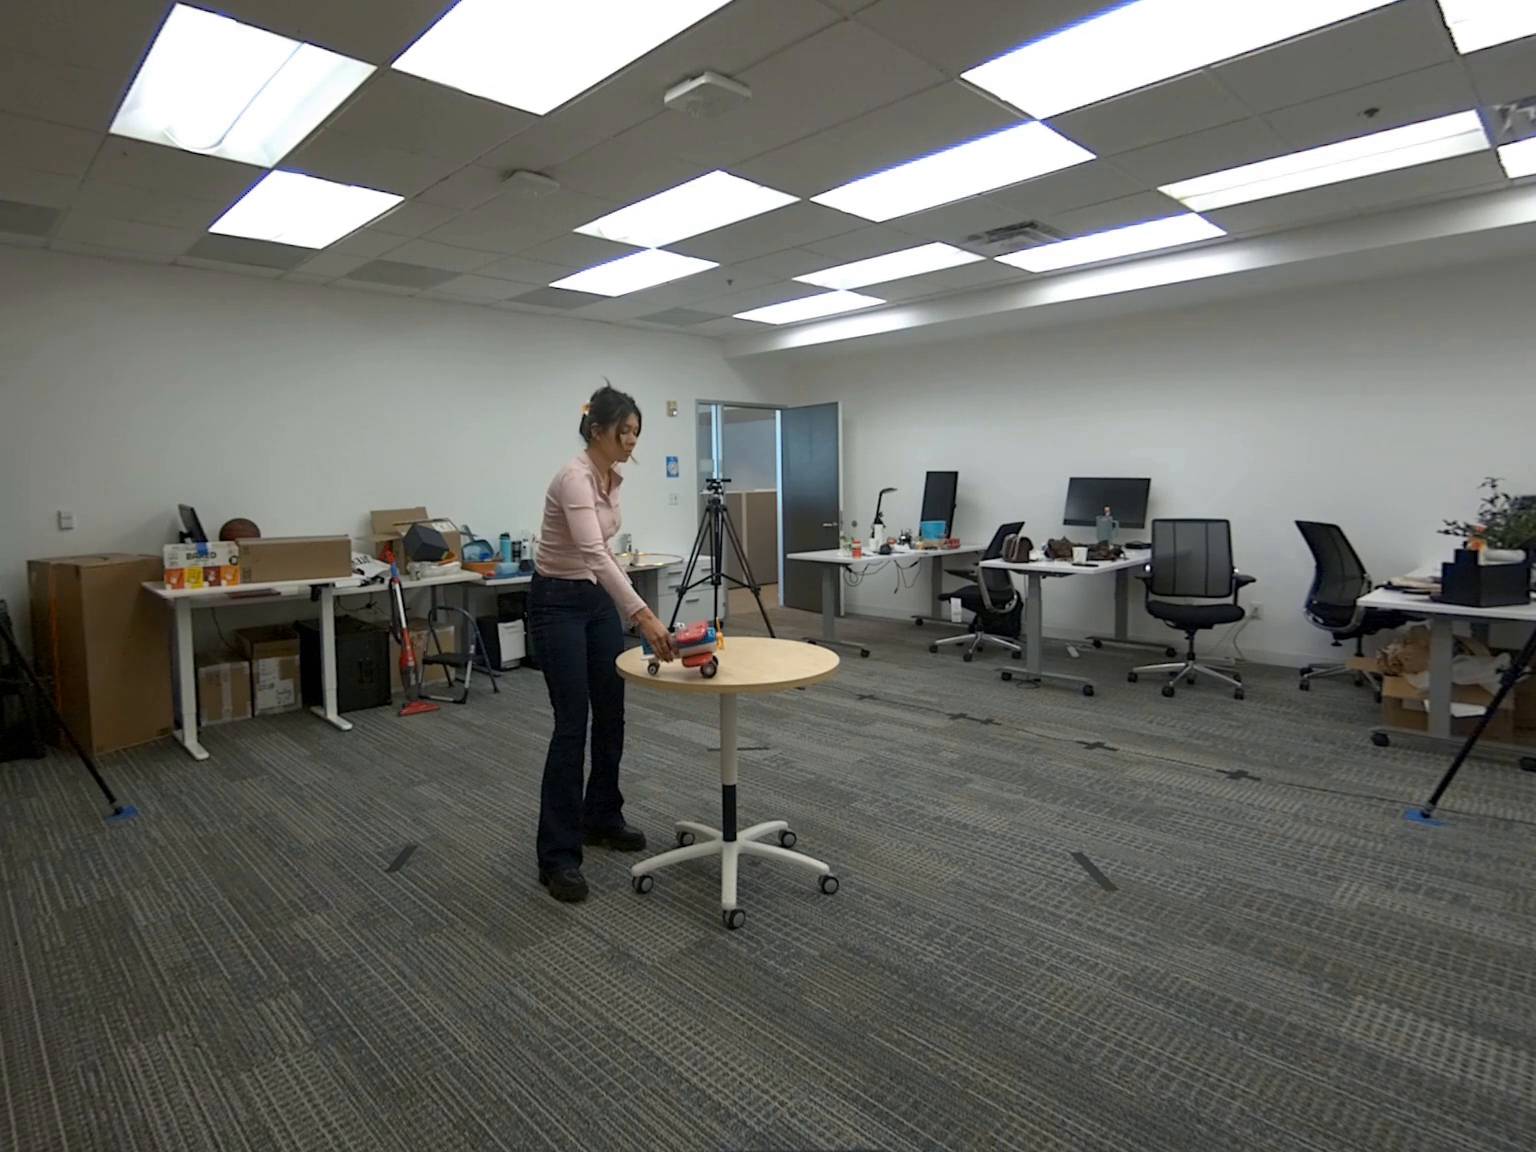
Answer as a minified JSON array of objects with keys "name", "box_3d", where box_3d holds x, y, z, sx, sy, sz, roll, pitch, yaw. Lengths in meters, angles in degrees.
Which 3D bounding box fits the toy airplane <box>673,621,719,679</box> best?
[{"name":"toy airplane","box_3d":[-0.266,0.235,2.671,0.254,0.155,0.258,-3,8,-25]}]
